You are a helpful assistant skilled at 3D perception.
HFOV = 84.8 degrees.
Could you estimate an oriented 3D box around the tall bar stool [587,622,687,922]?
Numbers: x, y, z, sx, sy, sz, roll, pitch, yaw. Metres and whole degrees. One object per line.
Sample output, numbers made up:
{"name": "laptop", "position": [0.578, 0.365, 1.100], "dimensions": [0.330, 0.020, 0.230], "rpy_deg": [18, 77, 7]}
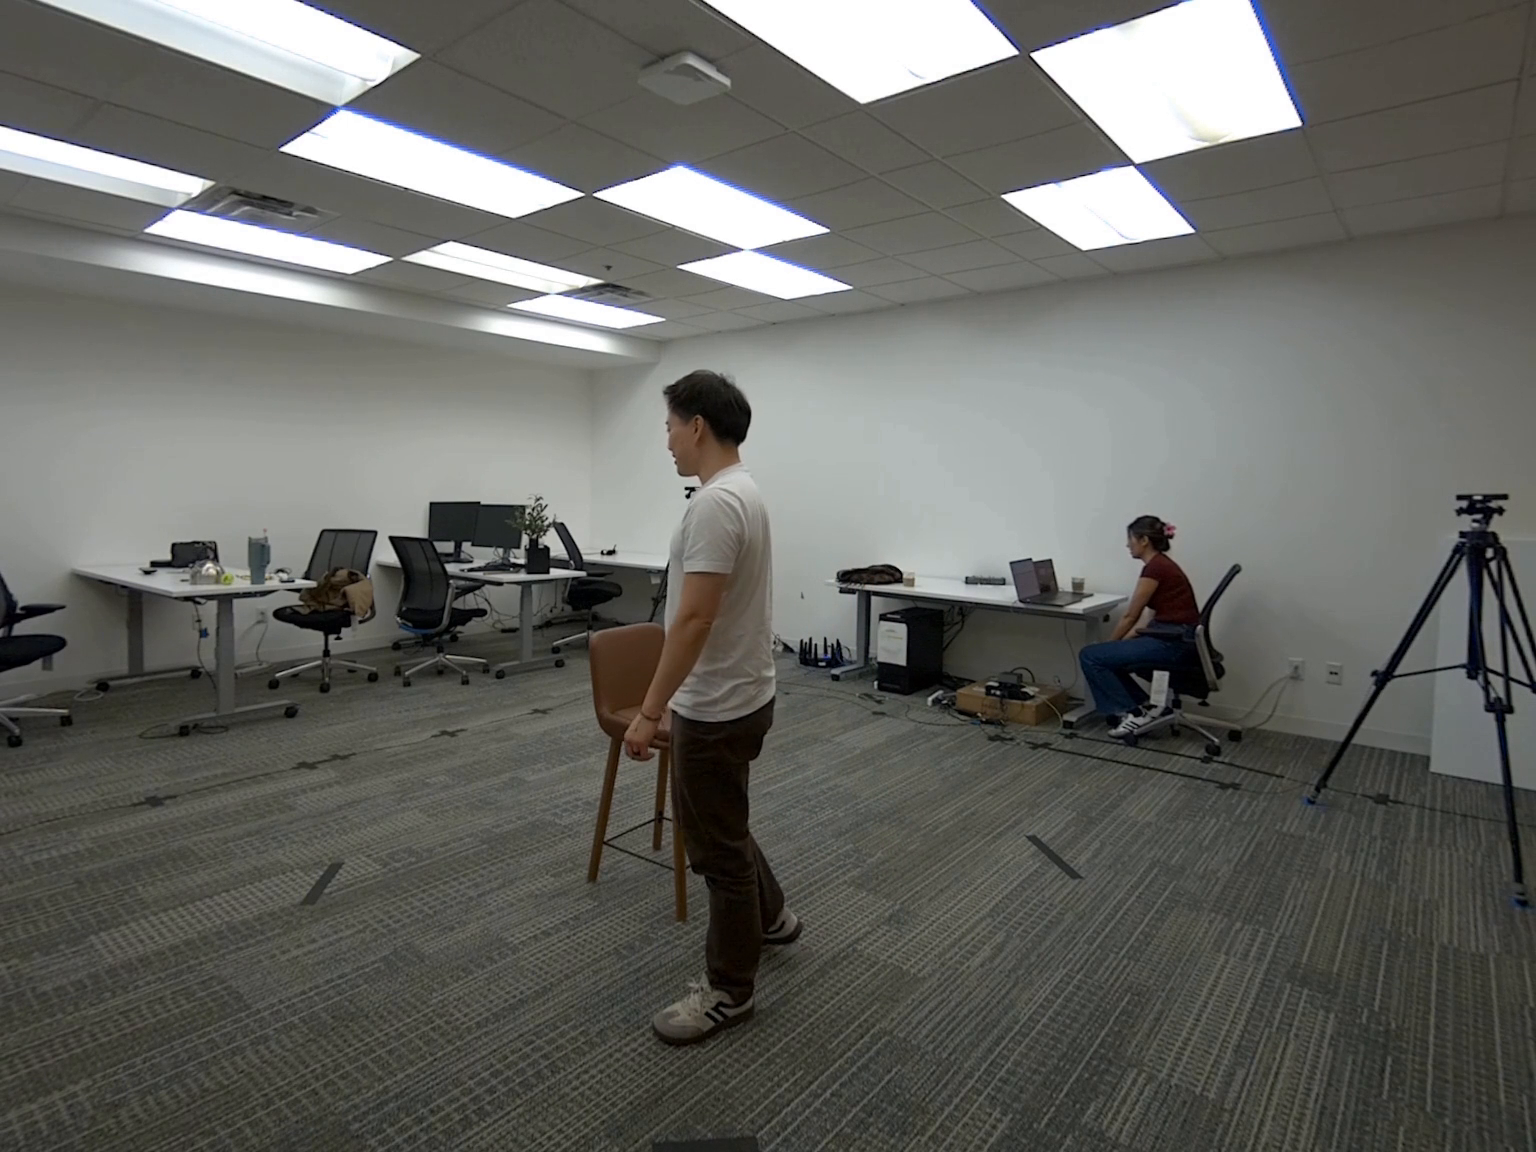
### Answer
{"name": "tall bar stool", "position": [-0.355, 0.637, 2.986], "dimensions": [0.482, 0.888, 0.443], "rpy_deg": [1, 2, 36]}
